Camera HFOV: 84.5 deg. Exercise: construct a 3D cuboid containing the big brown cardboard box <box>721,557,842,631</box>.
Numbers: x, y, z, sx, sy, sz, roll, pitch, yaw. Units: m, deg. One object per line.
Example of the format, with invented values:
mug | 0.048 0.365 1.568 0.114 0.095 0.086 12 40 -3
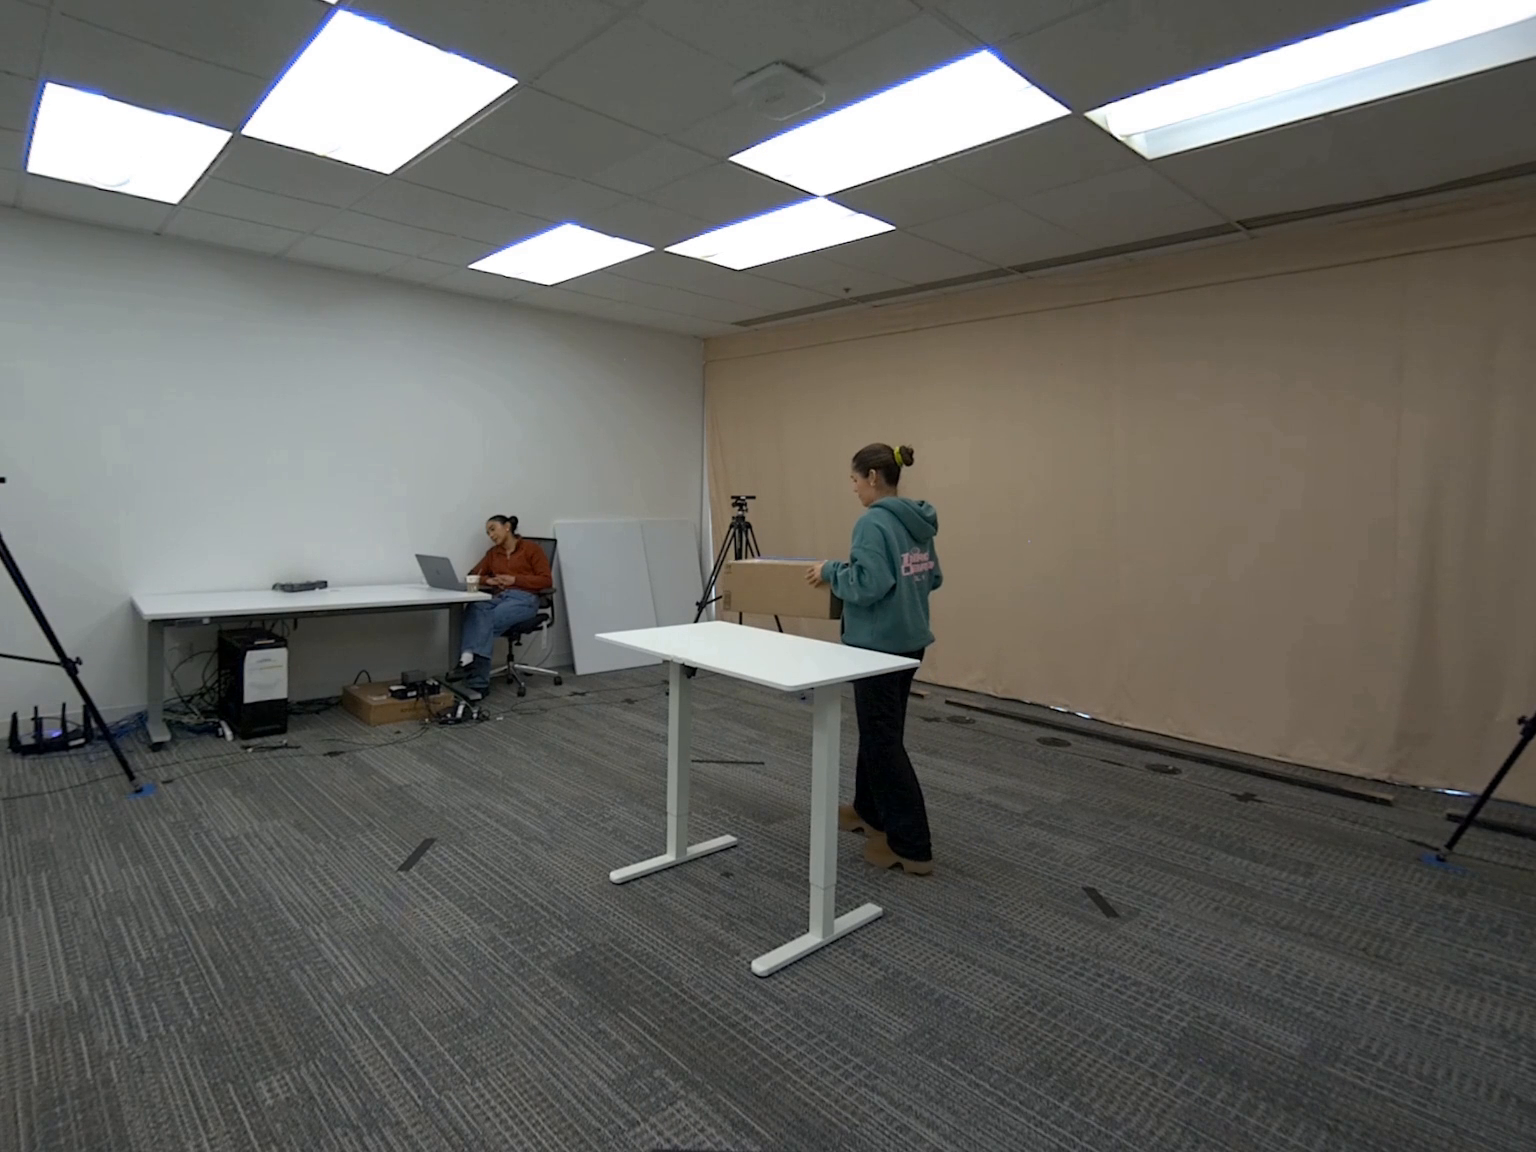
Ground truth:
big brown cardboard box | 0.141 0.053 3.648 0.603 0.233 0.407 3 1 39
